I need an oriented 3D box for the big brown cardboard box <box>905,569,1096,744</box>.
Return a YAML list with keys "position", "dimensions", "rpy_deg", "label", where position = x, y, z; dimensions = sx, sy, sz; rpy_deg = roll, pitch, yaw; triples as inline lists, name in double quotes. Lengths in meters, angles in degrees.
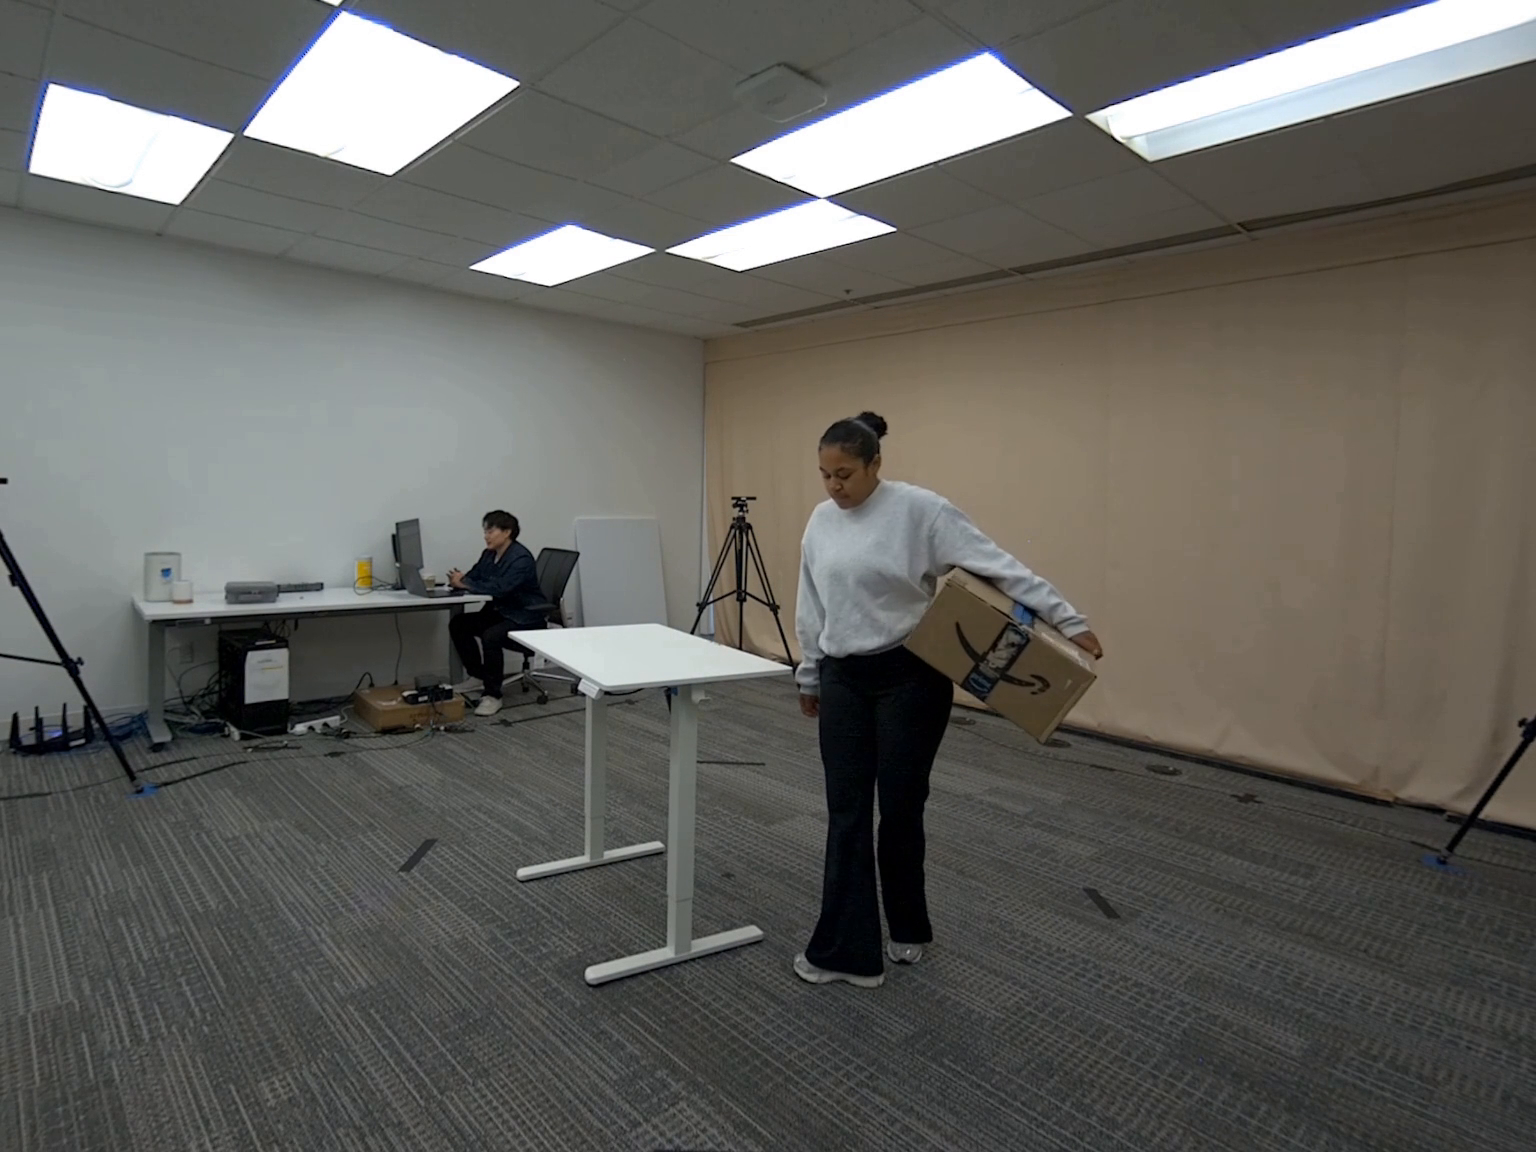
- position: [0.645, 0.171, 2.335]
  dimensions: [0.423, 0.232, 0.583]
  rpy_deg: [34, 18, 12]
  label: "big brown cardboard box"
